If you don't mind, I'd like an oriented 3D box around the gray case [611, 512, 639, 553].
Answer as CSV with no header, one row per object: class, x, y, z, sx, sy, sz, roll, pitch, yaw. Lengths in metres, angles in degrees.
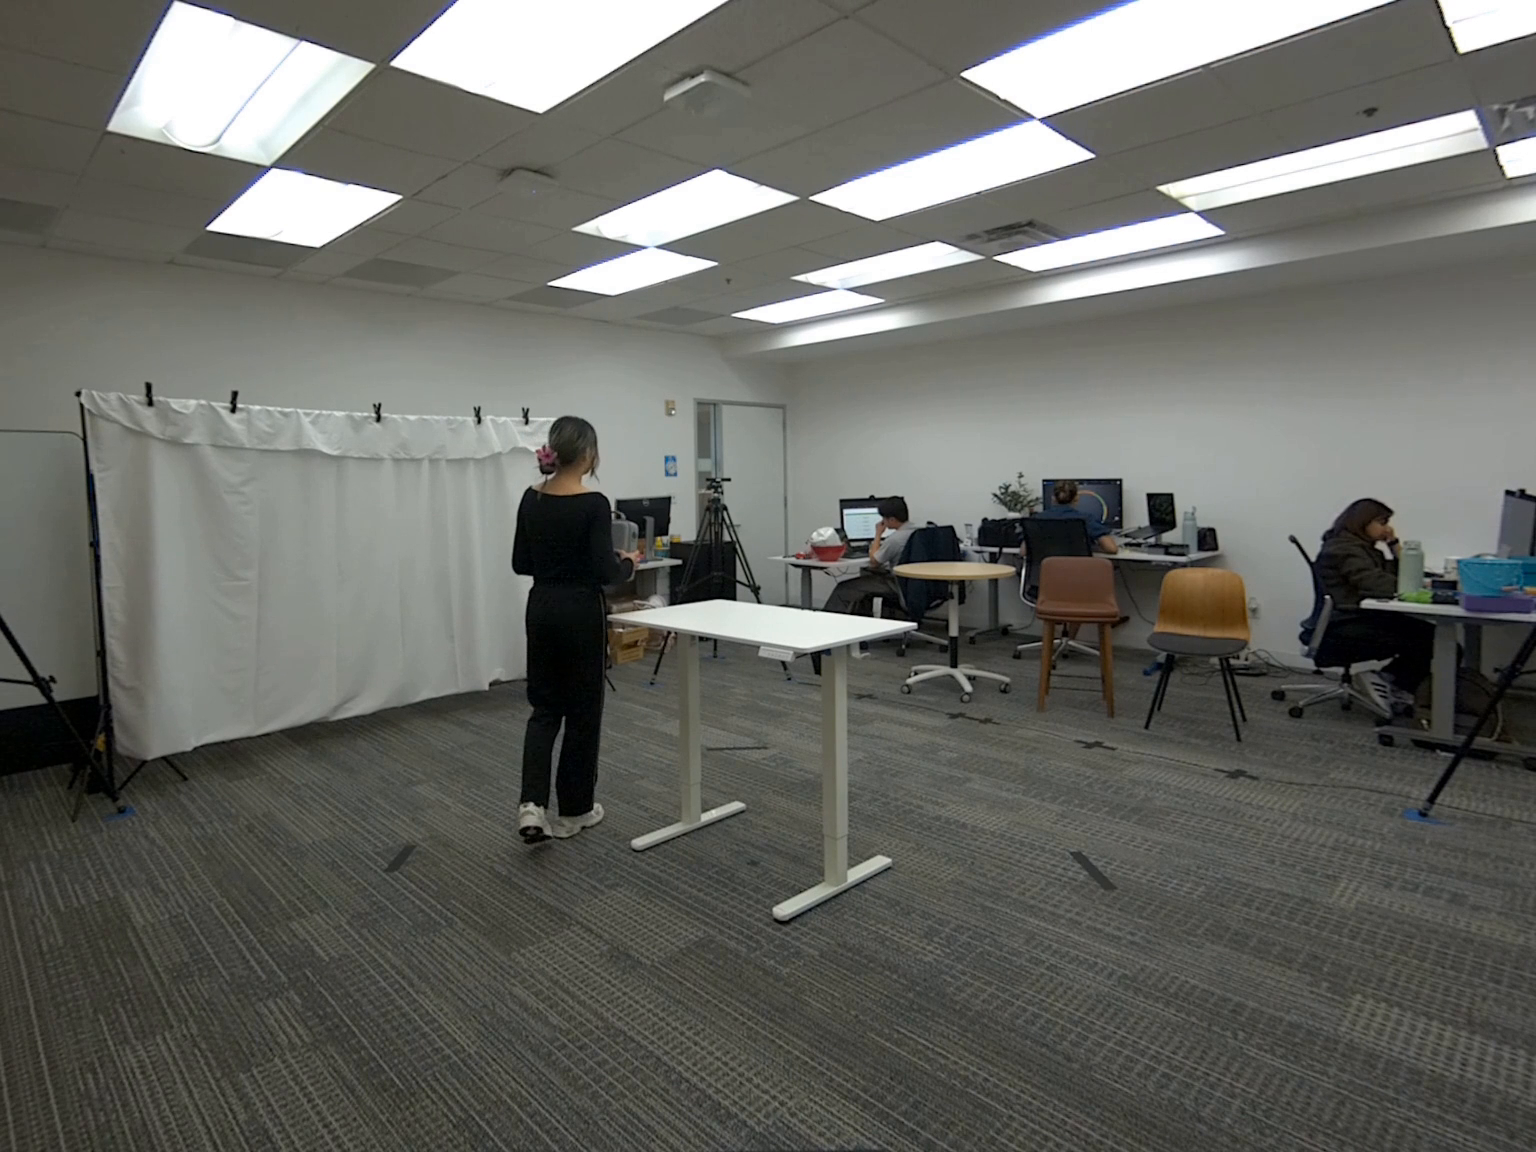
gray case,-0.676,-0.110,3.573,0.264,0.261,0.101,3,-4,31
